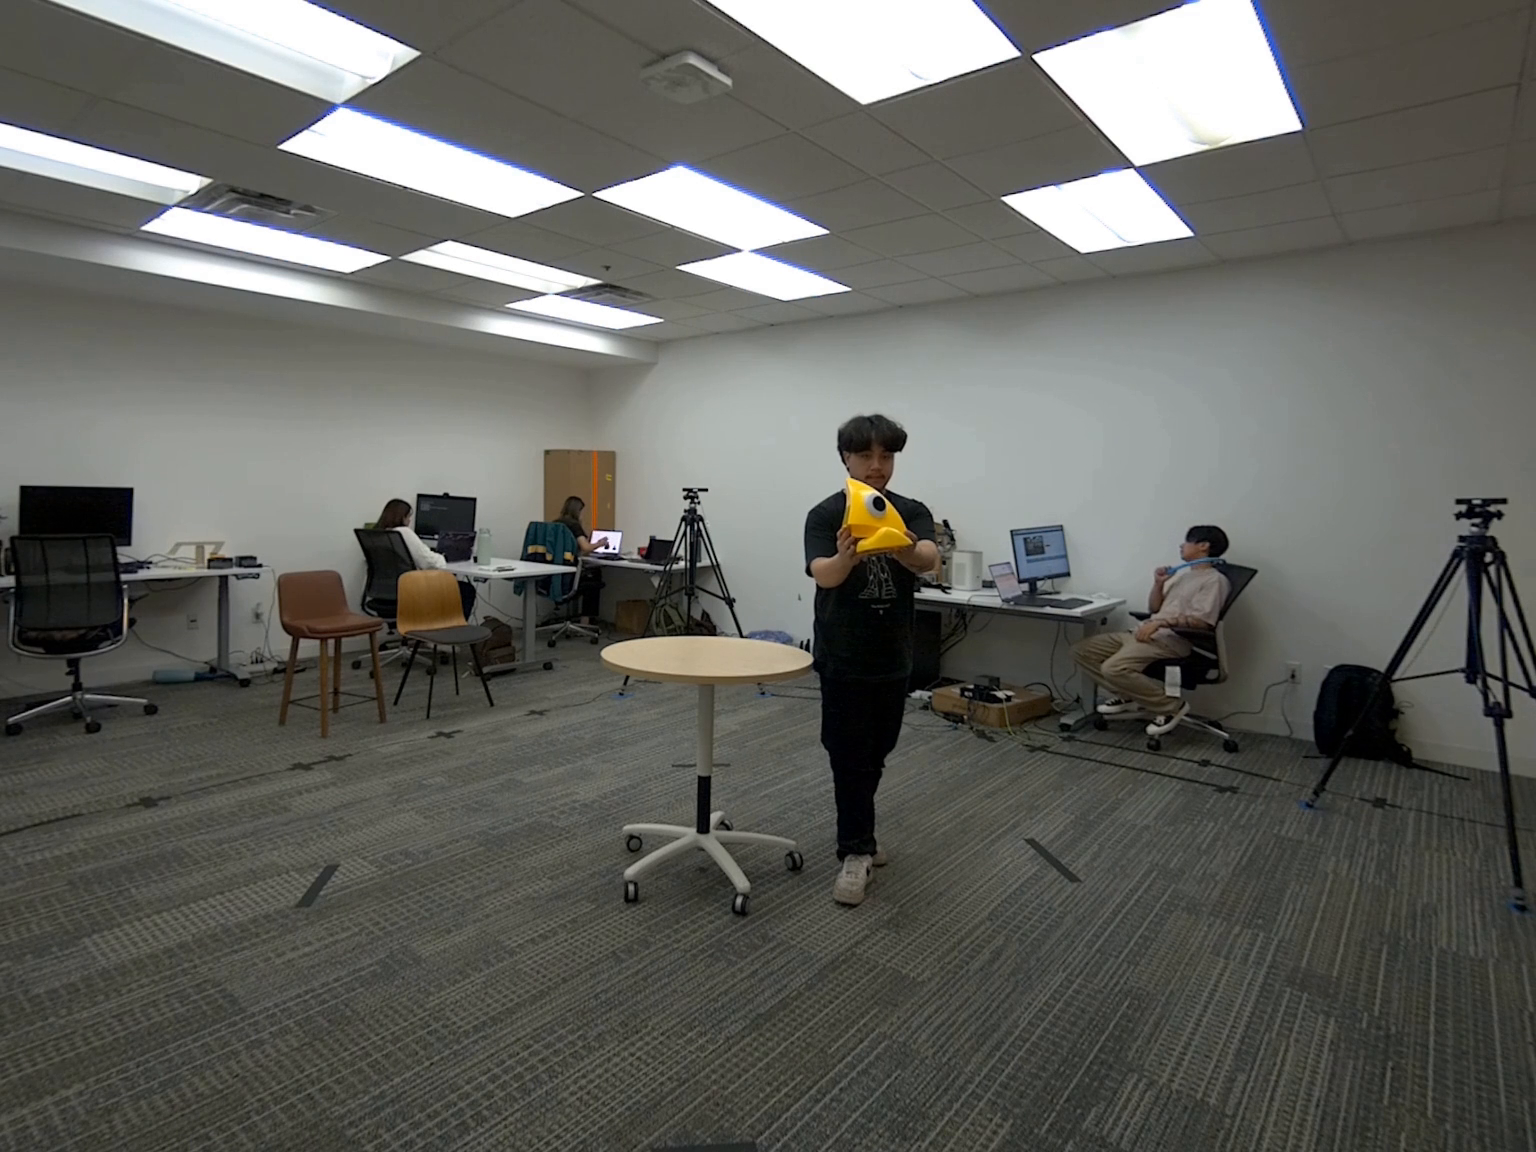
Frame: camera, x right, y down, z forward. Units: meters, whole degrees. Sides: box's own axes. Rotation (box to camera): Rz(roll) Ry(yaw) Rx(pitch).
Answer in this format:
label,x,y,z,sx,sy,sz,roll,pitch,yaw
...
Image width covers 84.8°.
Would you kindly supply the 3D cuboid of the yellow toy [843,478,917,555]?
label,x,y,z,sx,sy,sz,roll,pitch,yaw
yellow toy,0.303,-0.193,2.544,0.193,0.232,0.203,-9,-5,-1
